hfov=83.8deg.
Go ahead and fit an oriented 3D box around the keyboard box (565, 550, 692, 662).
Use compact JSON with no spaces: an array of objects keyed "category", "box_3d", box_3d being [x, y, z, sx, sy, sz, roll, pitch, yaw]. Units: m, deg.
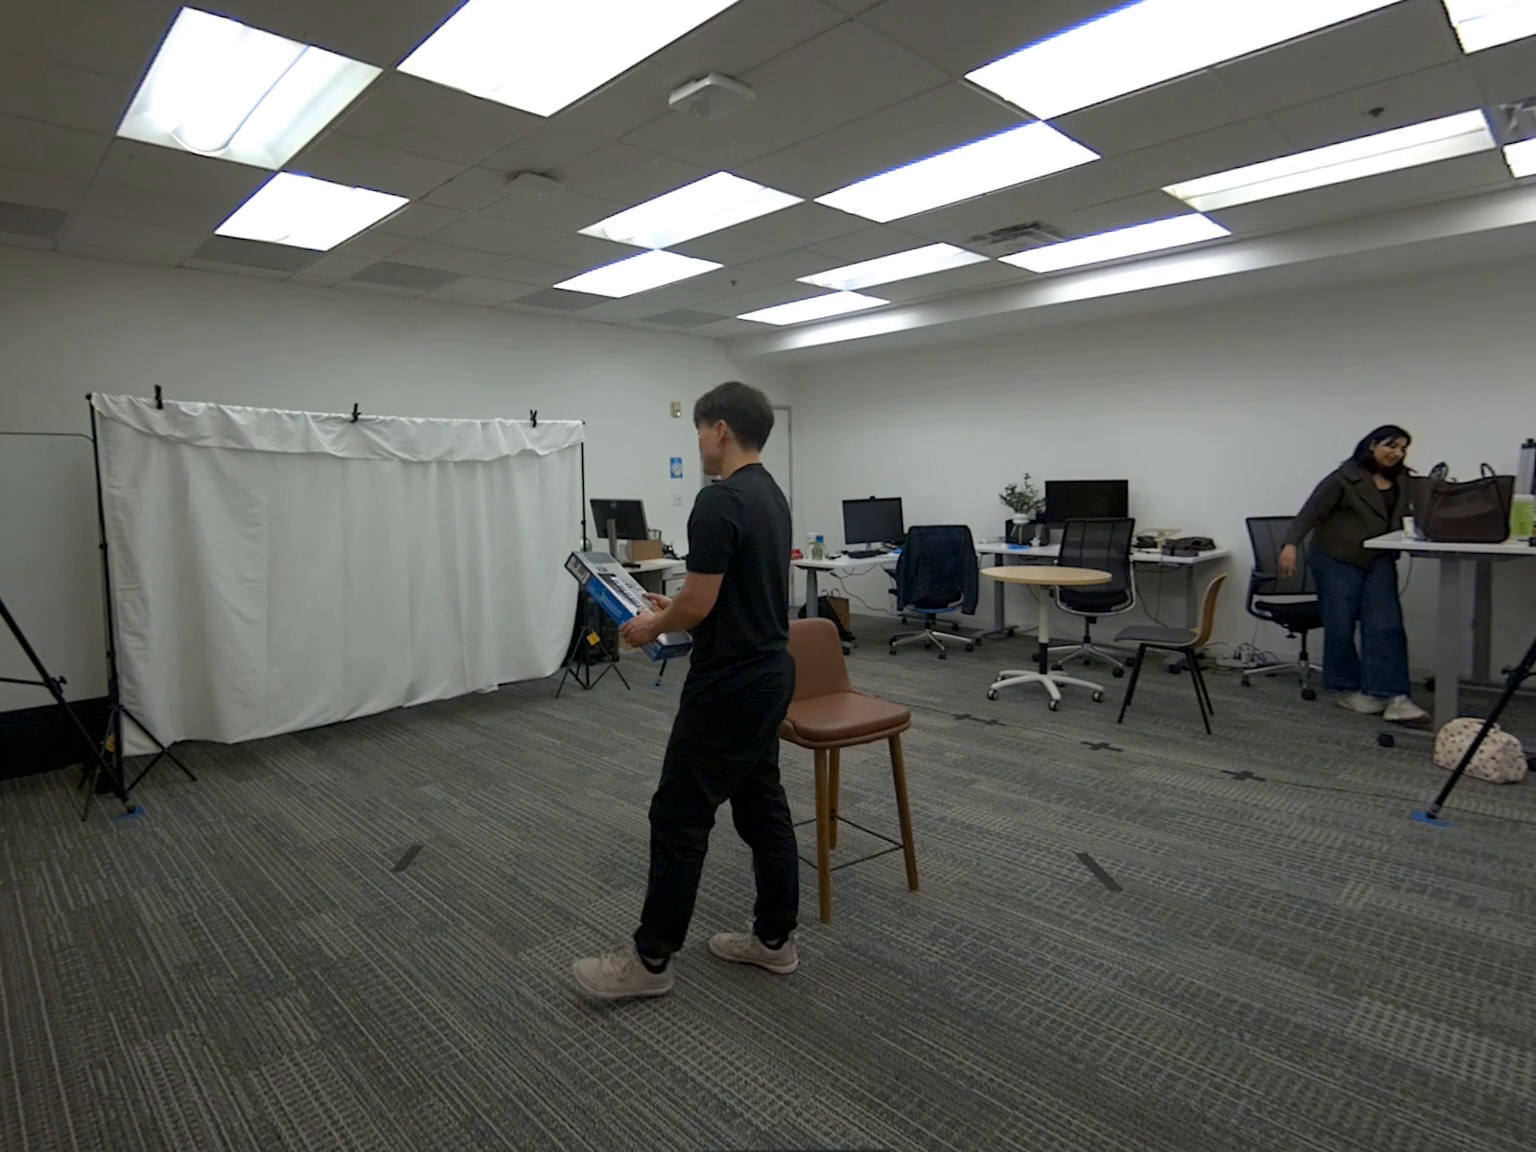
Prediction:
[{"category":"keyboard box","box_3d":[-0.426,0.083,2.597,0.450,0.059,0.171,42,18,24]}]
